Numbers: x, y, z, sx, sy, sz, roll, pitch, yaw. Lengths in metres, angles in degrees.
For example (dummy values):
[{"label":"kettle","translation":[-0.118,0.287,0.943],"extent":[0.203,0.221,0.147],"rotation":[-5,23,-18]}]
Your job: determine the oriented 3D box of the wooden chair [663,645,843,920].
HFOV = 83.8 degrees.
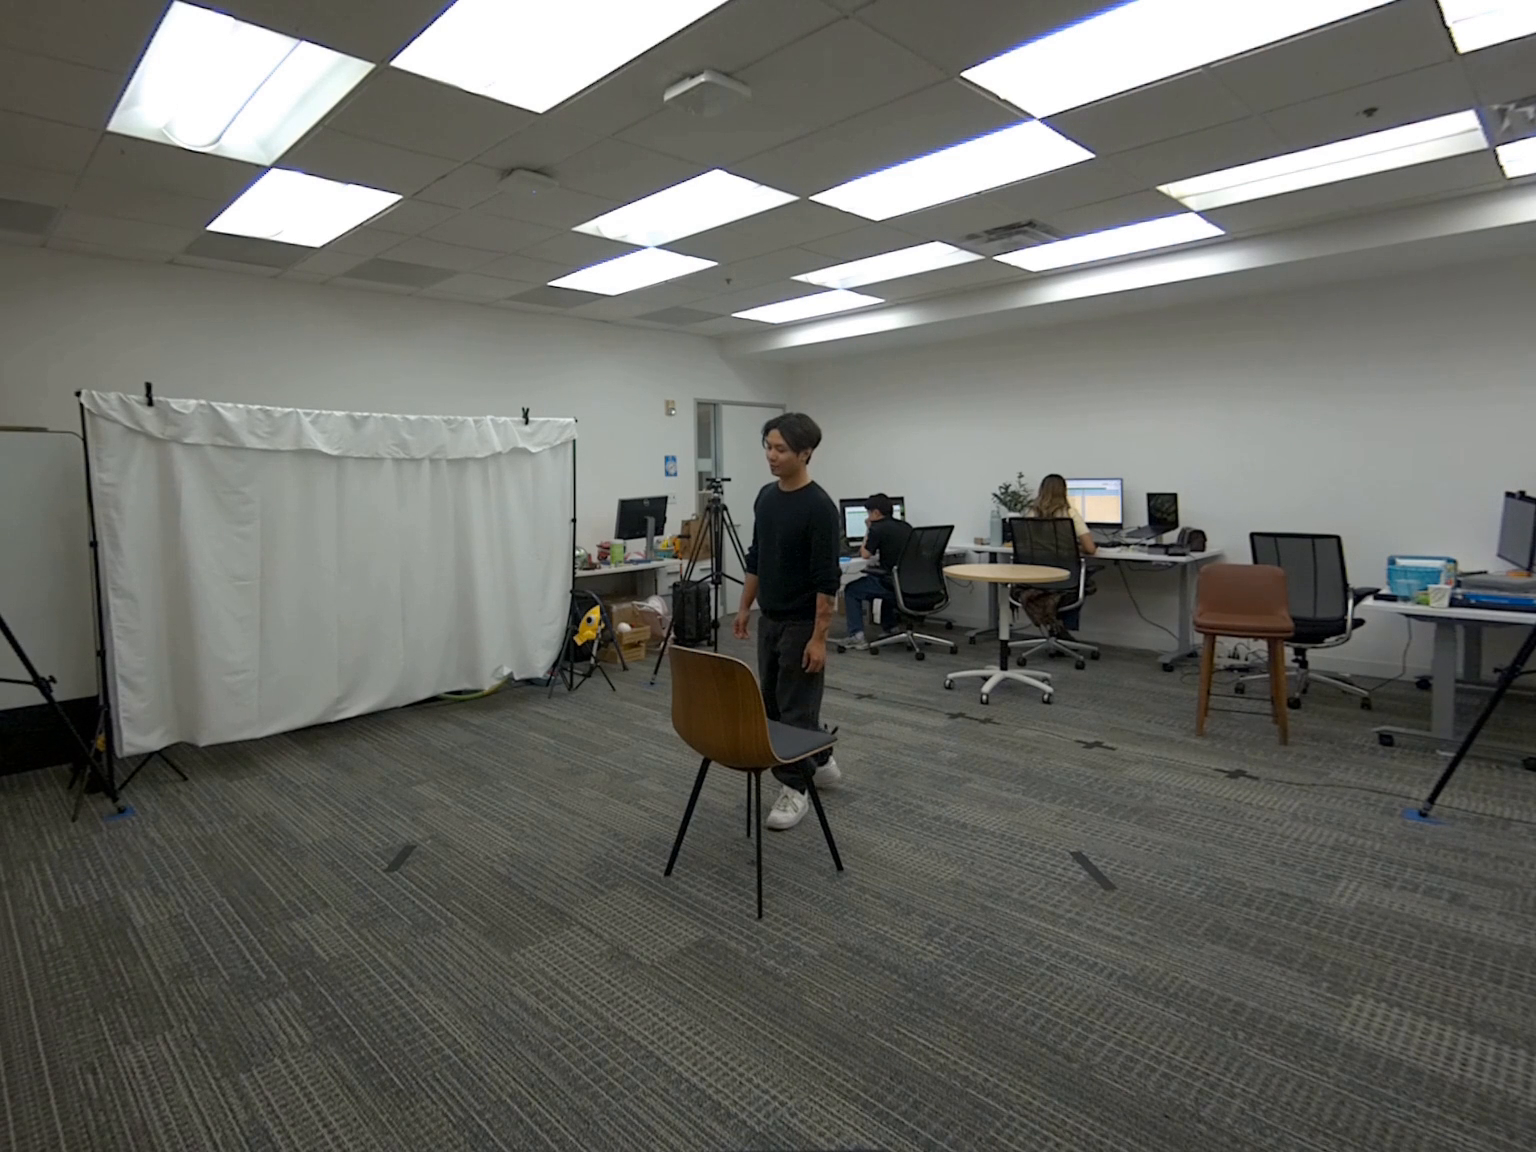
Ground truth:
[{"label":"wooden chair","translation":[-0.050,0.629,2.993],"extent":[0.493,0.871,0.511],"rotation":[3,10,42]}]
